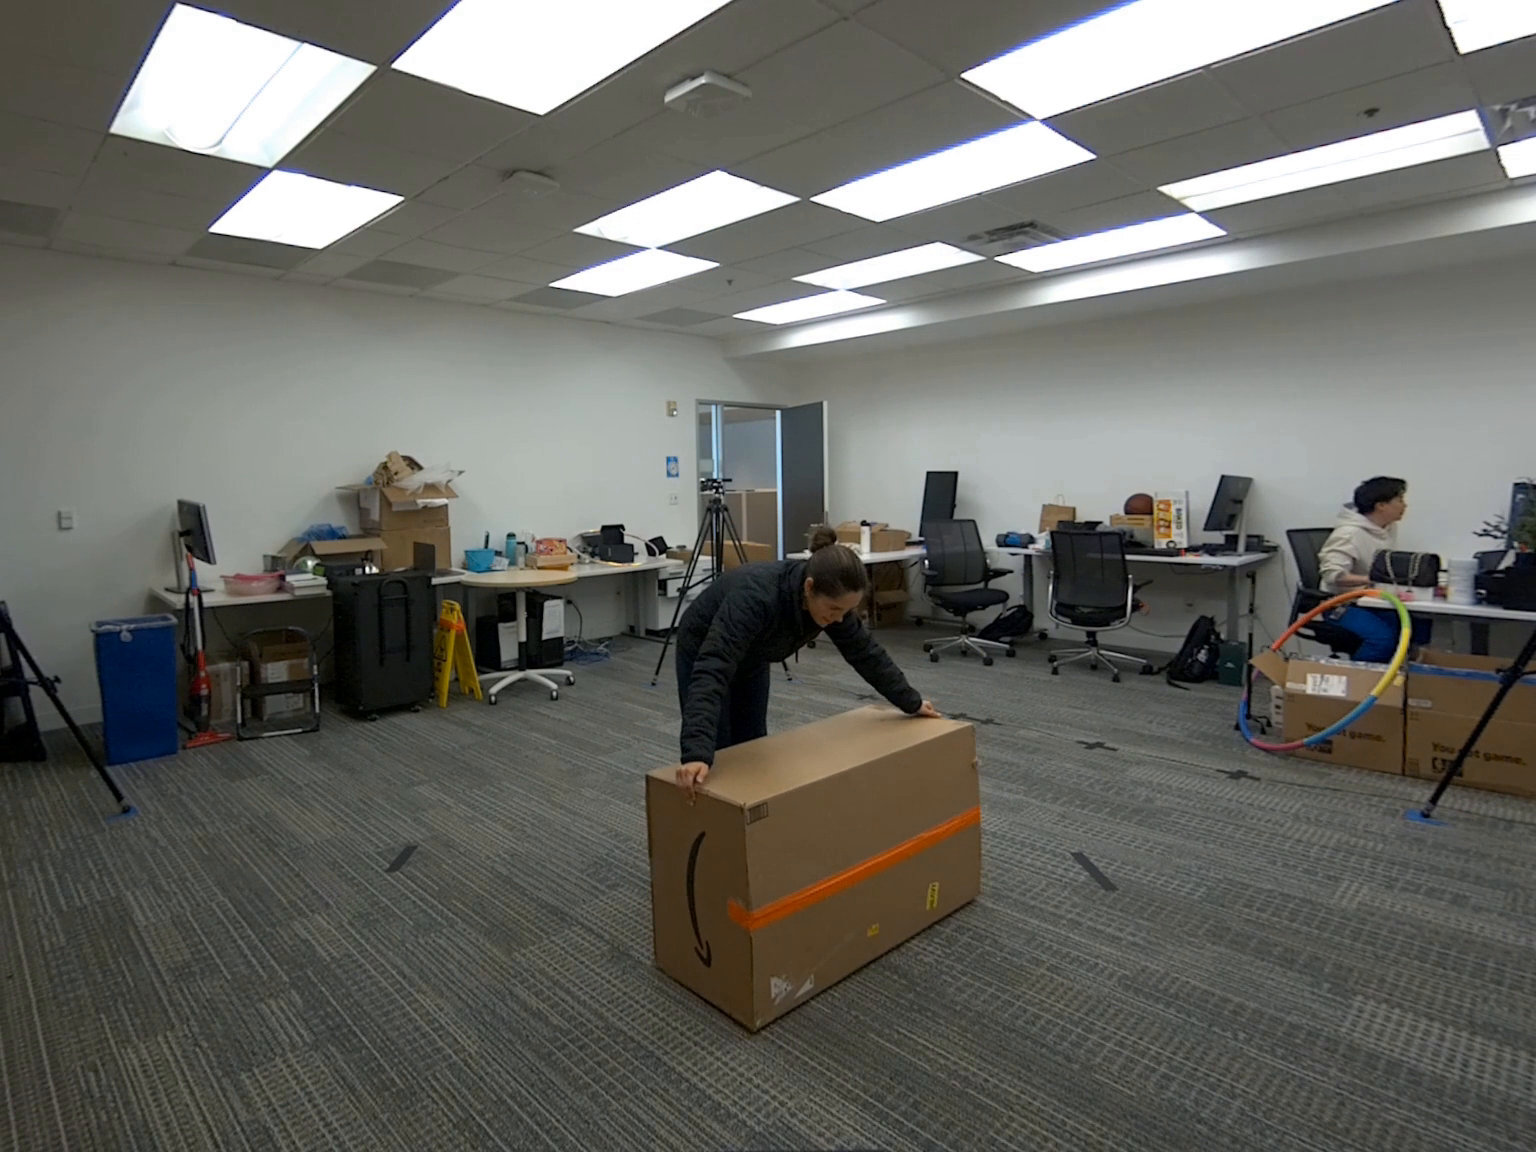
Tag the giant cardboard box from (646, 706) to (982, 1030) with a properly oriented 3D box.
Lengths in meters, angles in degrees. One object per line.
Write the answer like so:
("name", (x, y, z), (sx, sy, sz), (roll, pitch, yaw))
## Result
("giant cardboard box", (0.177, 0.798, 2.628), (1.001, 0.582, 0.460), (-7, 6, -42))
